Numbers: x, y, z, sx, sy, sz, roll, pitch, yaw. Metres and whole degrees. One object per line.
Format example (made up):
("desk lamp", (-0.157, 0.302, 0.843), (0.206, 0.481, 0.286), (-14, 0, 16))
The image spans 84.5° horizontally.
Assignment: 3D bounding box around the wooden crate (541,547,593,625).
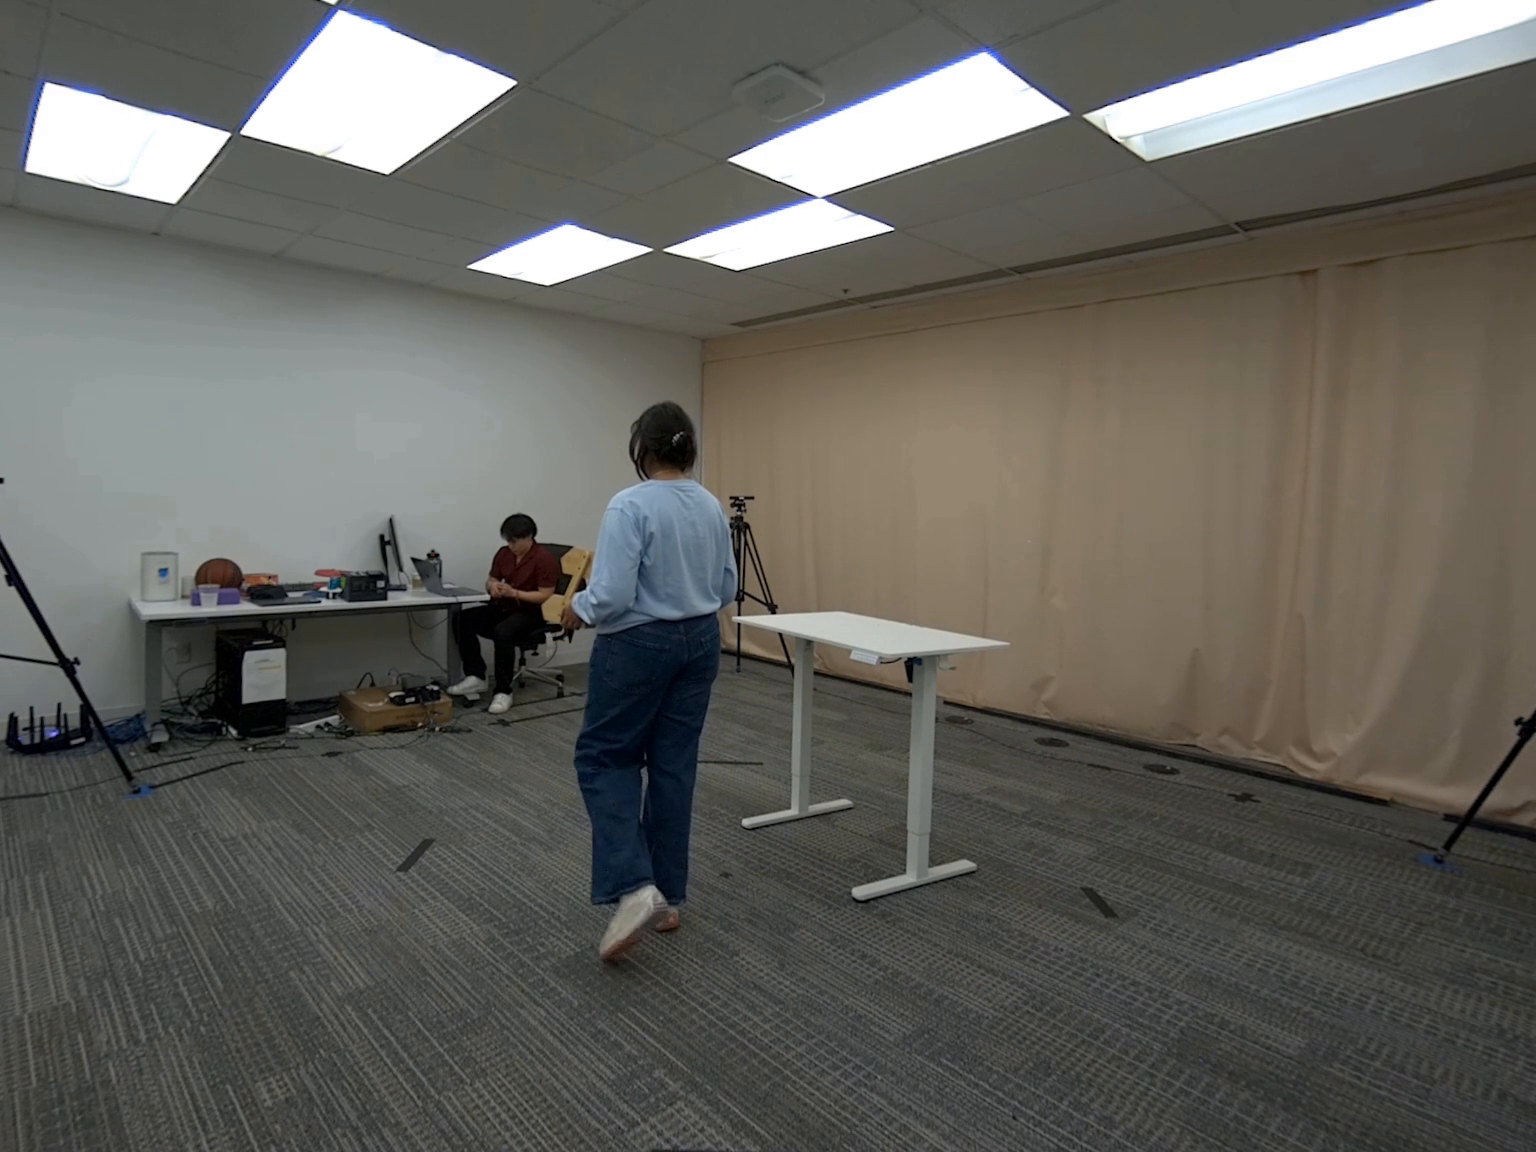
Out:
("wooden crate", (-0.572, 0.032, 2.940), (0.310, 0.272, 0.317), (9, 6, 42))
